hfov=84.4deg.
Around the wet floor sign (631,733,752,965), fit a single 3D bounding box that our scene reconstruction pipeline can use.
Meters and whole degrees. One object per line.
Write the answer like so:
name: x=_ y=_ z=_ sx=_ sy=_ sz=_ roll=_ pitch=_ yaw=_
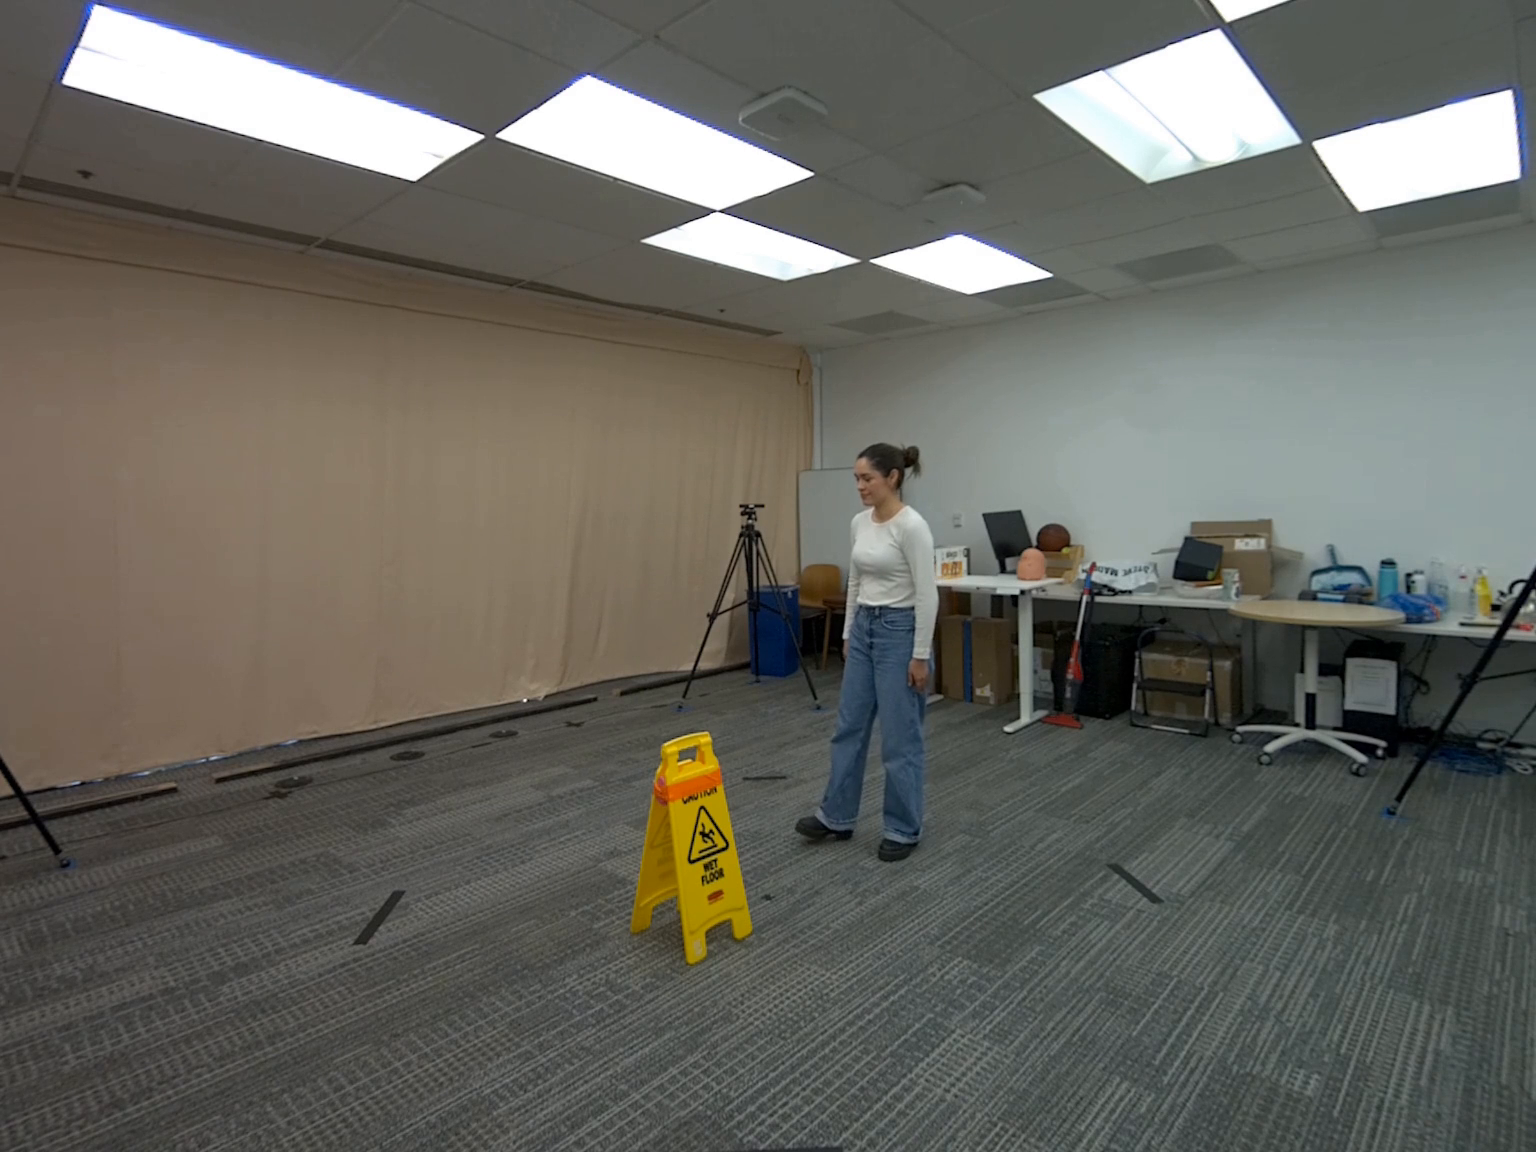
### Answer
wet floor sign: x=-0.258 y=0.843 z=2.728 sx=0.299 sy=0.645 sz=0.273 roll=2 pitch=4 yaw=44
